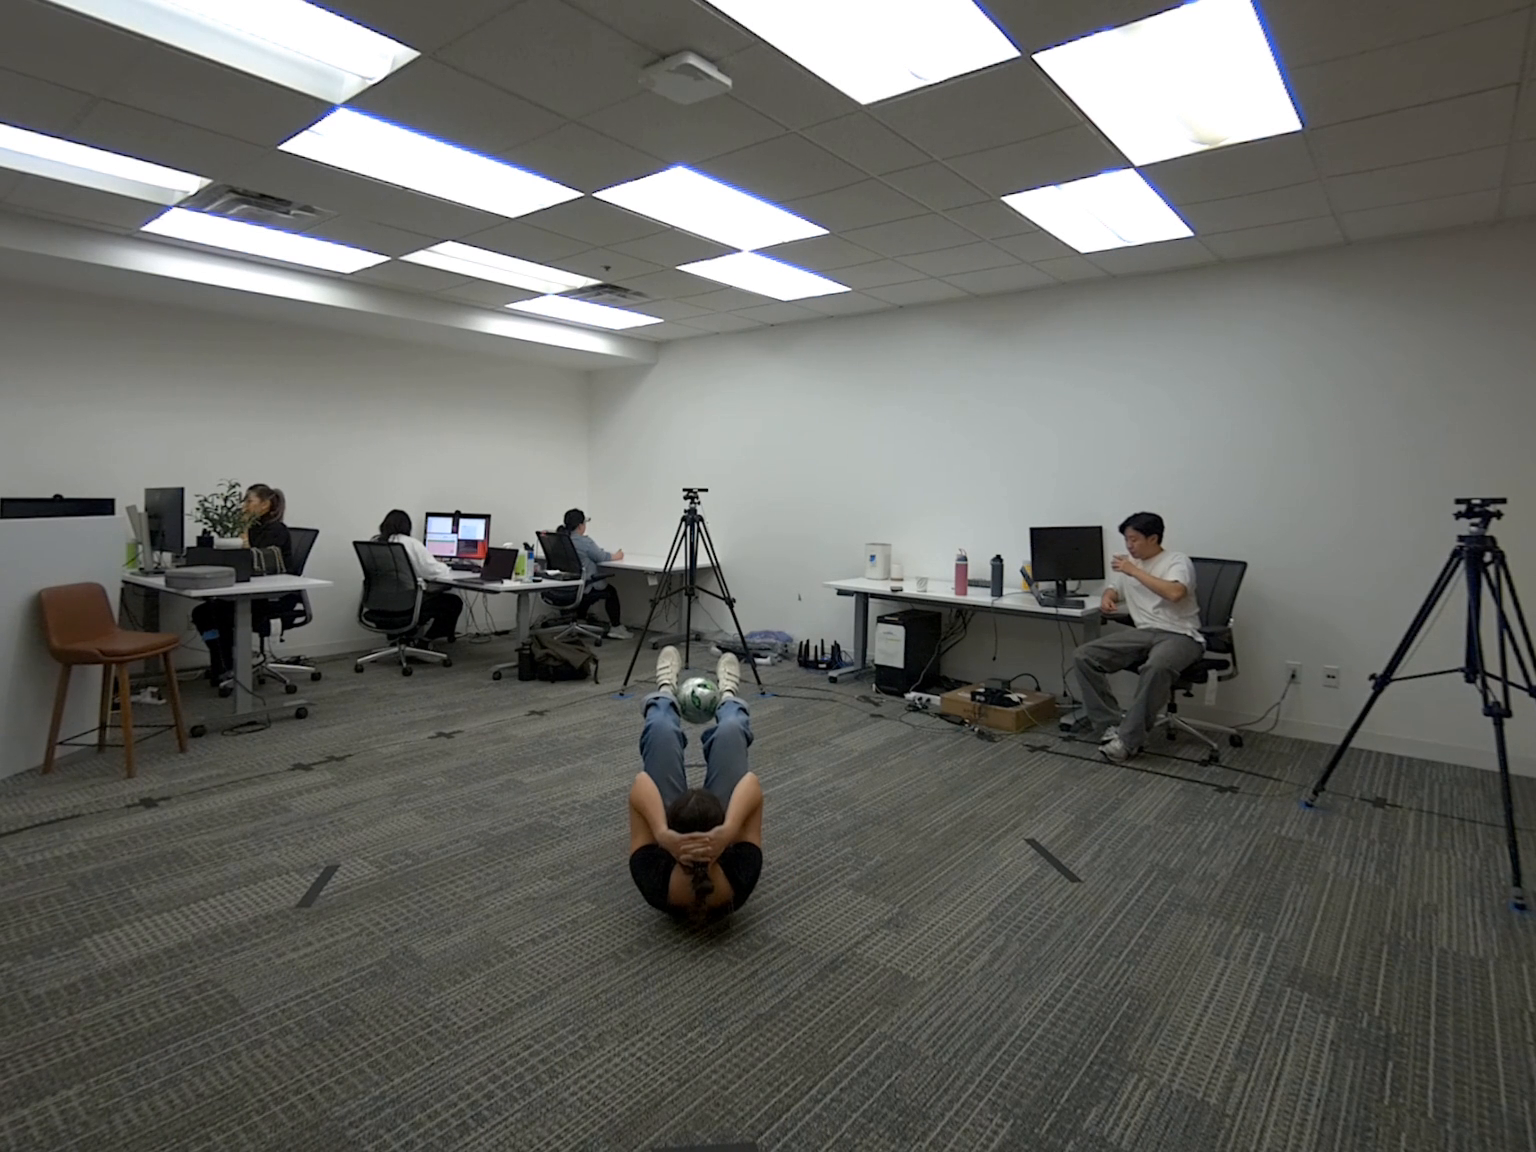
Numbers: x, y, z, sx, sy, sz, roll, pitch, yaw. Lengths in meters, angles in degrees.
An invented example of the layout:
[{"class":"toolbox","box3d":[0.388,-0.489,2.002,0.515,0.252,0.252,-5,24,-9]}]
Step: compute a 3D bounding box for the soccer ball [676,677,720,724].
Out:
[{"class":"soccer ball","box3d":[-0.285,0.493,3.411,0.187,0.187,0.188,-3,4,-2]}]
